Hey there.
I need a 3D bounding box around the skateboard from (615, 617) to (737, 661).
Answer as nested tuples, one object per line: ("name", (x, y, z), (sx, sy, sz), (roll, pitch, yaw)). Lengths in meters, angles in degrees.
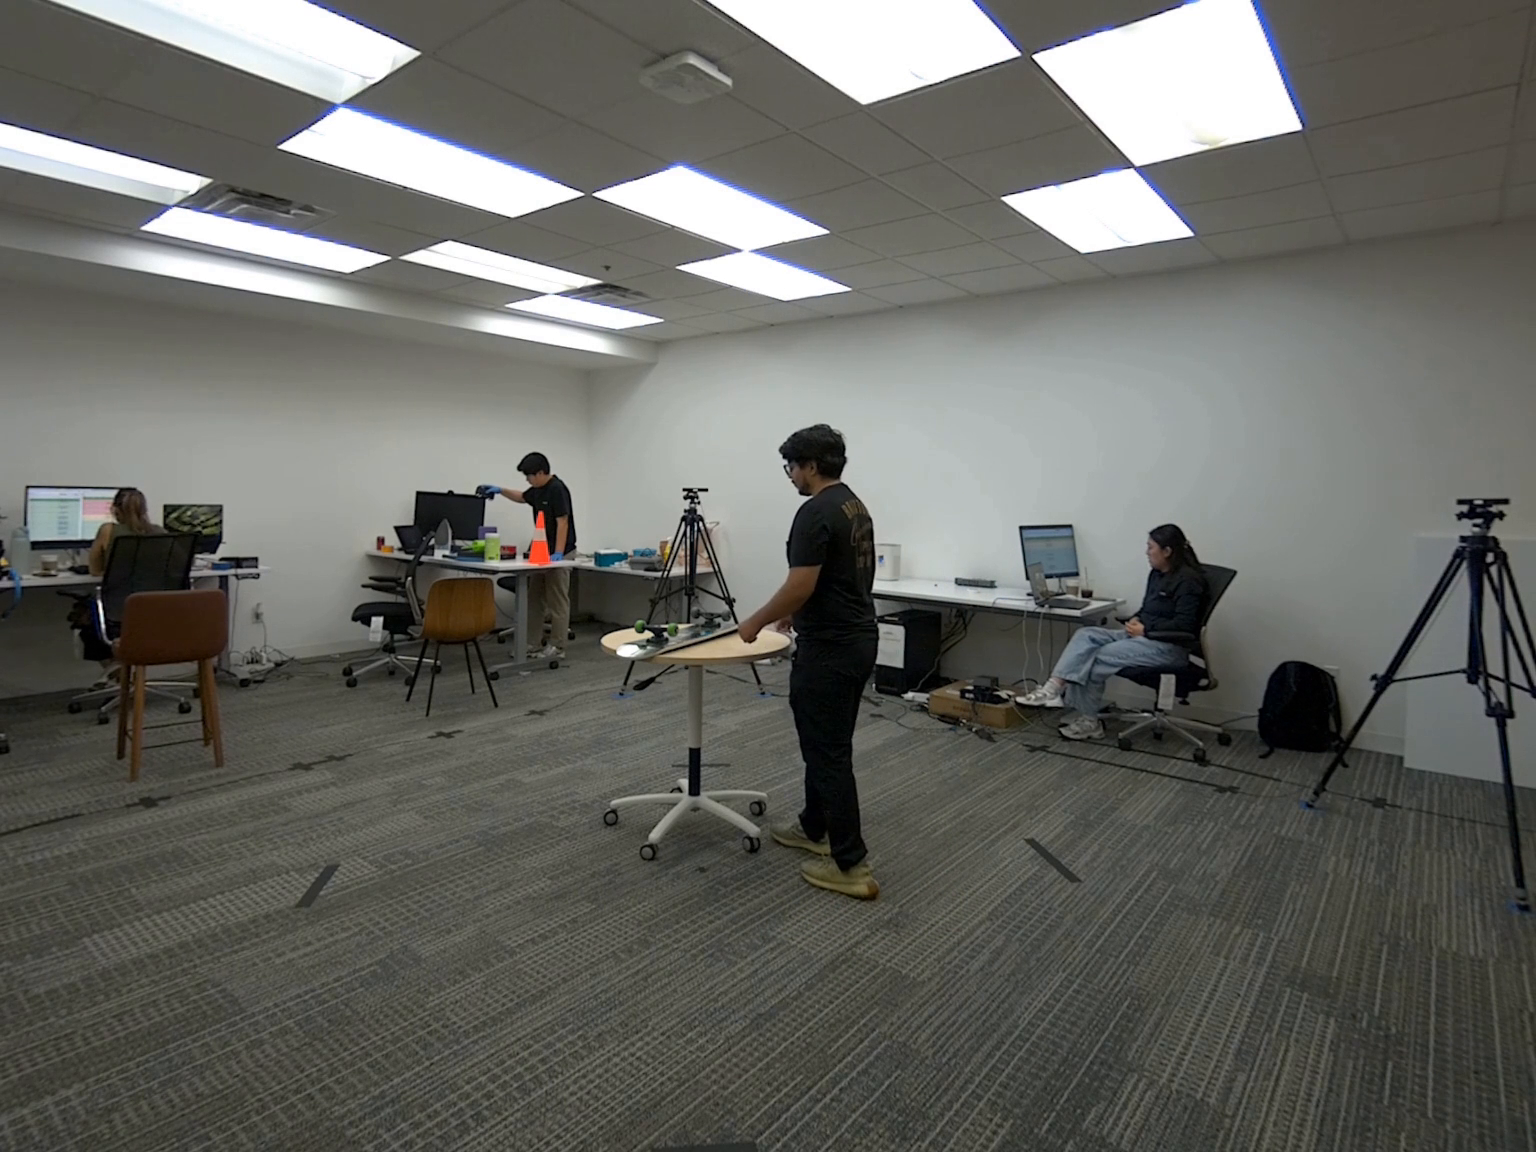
("skateboard", (-0.346, 0.208, 3.429), (0.199, 0.110, 0.766), (5, 9, 31))
